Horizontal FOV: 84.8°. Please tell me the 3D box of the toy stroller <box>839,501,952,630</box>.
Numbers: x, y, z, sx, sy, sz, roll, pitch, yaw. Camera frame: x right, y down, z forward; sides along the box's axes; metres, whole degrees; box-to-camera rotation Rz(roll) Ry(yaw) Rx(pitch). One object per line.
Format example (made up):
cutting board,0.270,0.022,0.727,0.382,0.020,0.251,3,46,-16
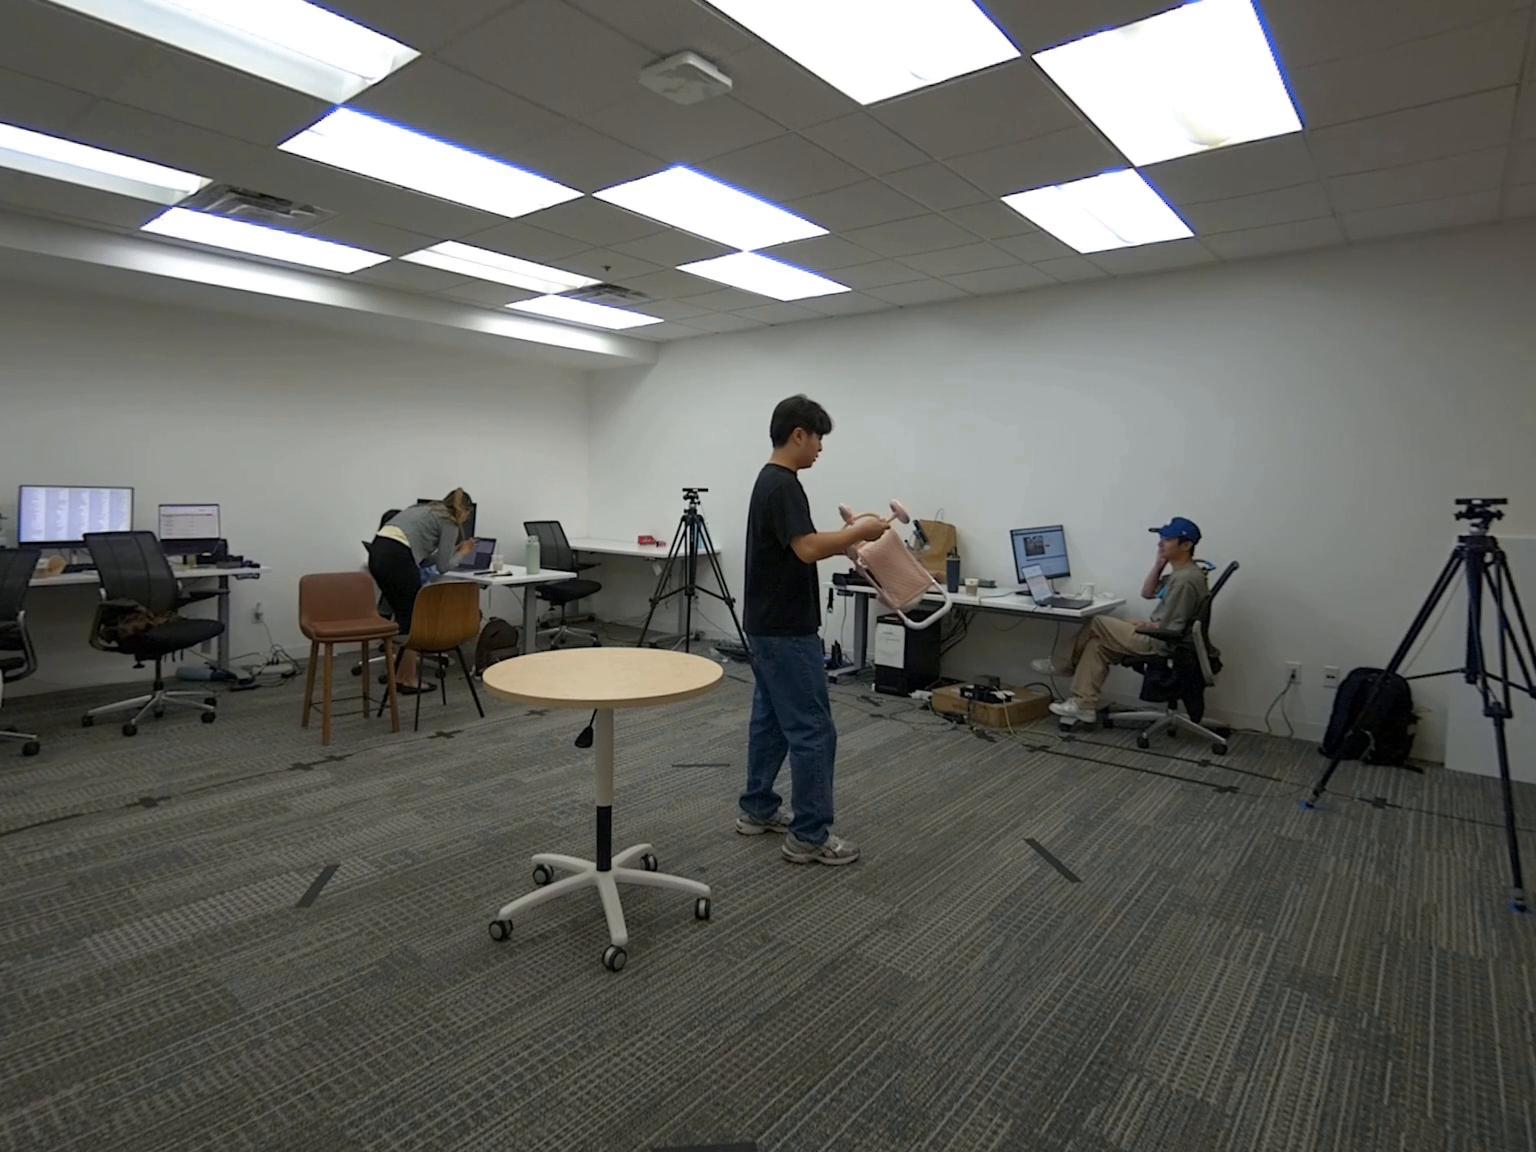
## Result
toy stroller,0.465,-0.063,3.409,0.281,0.528,0.347,-37,10,-10
